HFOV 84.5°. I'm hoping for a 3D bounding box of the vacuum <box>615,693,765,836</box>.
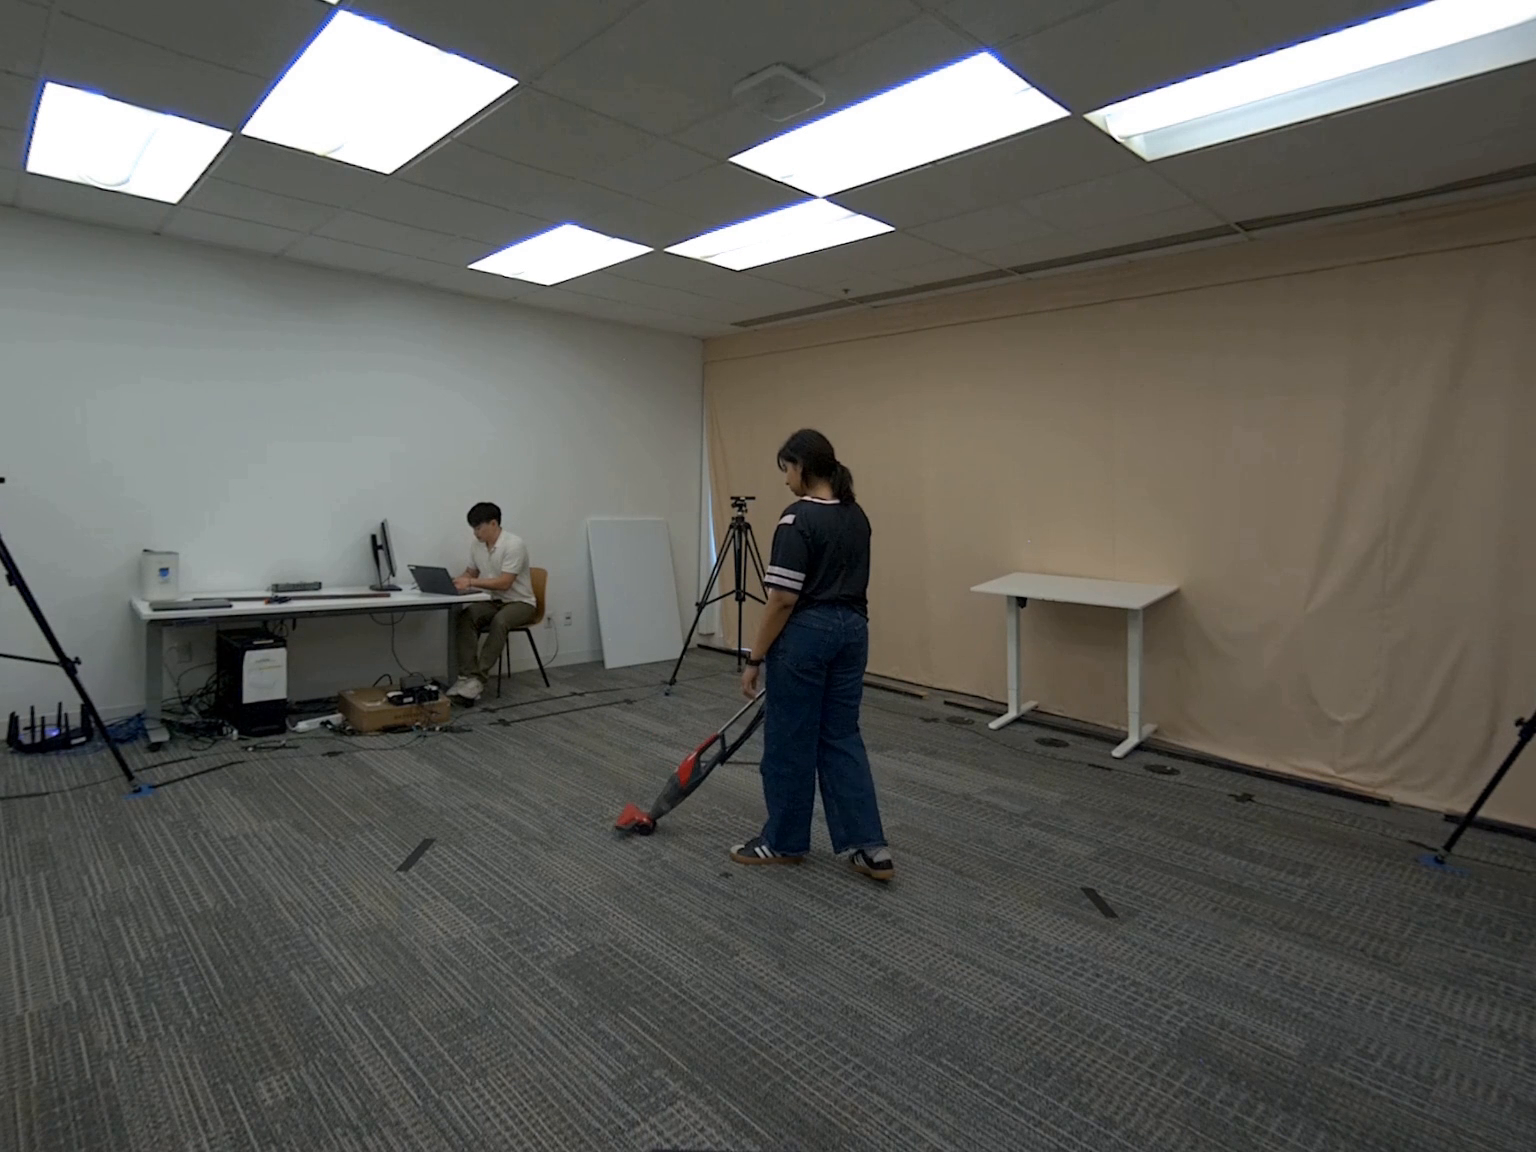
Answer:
[{"bbox_3d":[-0.174,0.680,3.466,1.050,0.144,0.253,-42,2,5],"label":"vacuum"}]
